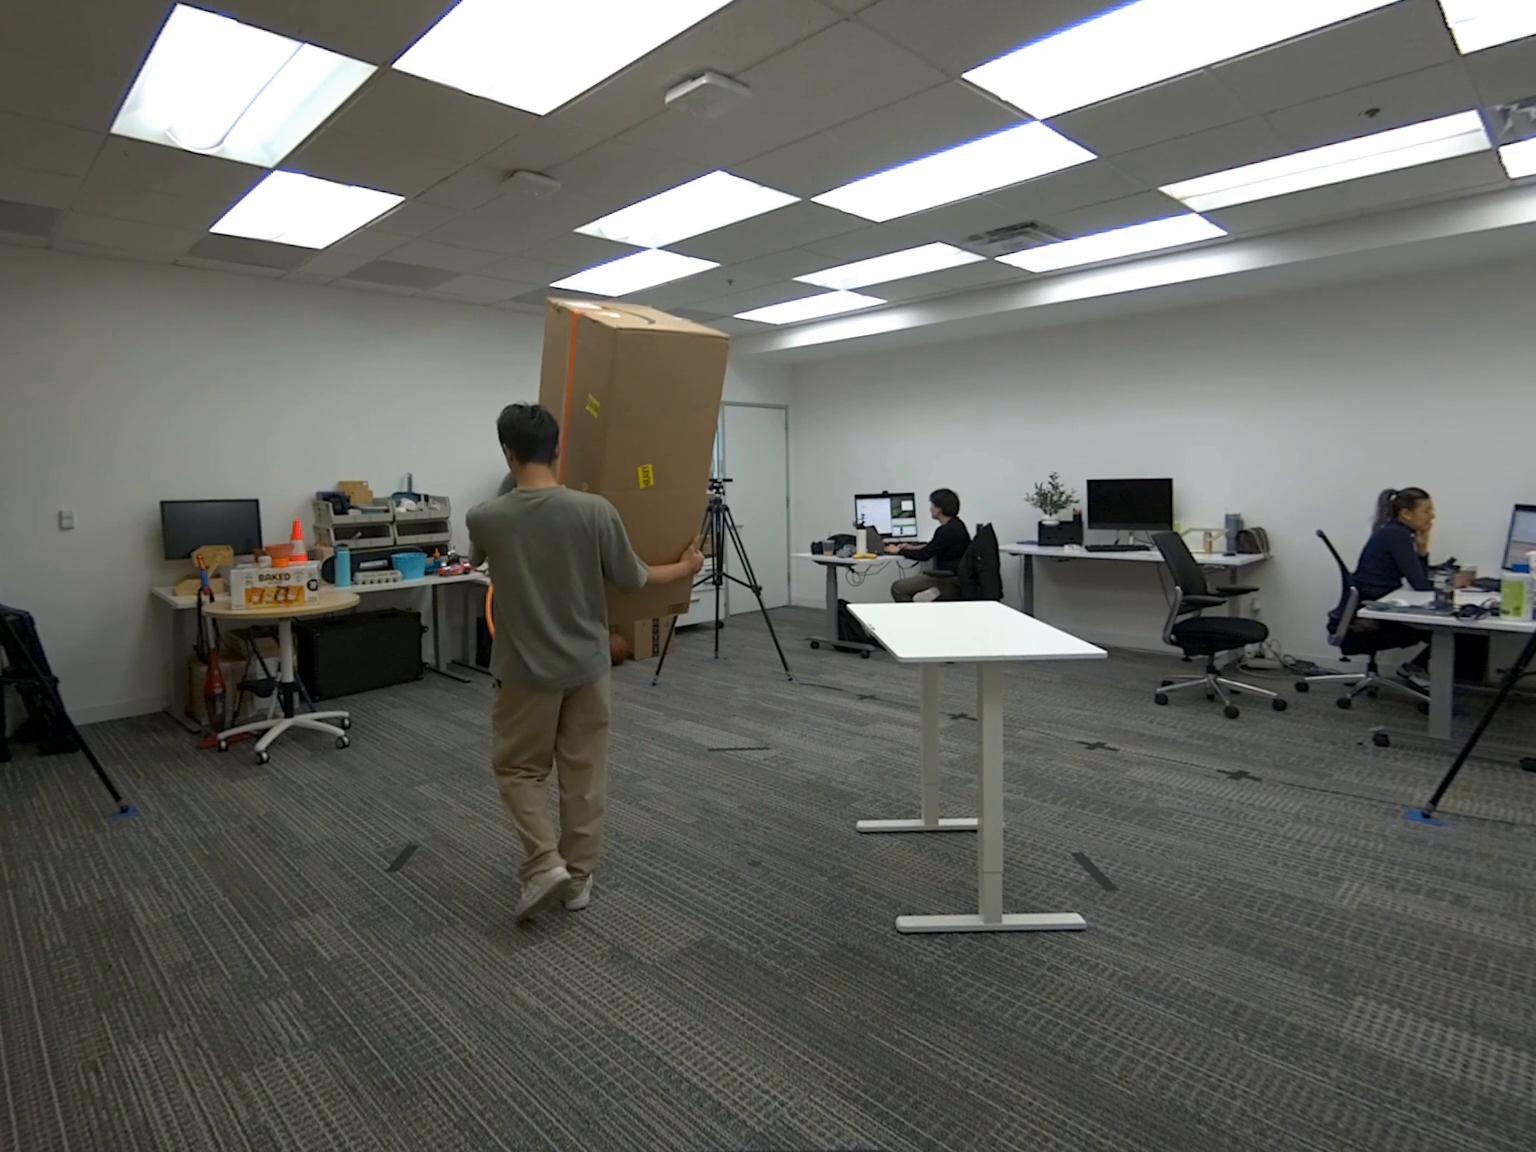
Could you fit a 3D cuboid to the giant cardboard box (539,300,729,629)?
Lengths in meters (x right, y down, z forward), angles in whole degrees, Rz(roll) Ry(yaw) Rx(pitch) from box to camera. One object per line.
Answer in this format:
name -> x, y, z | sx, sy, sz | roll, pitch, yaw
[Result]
giant cardboard box -> -0.540, -0.413, 3.069 | 0.416, 1.011, 0.600 | -5, 25, -35
